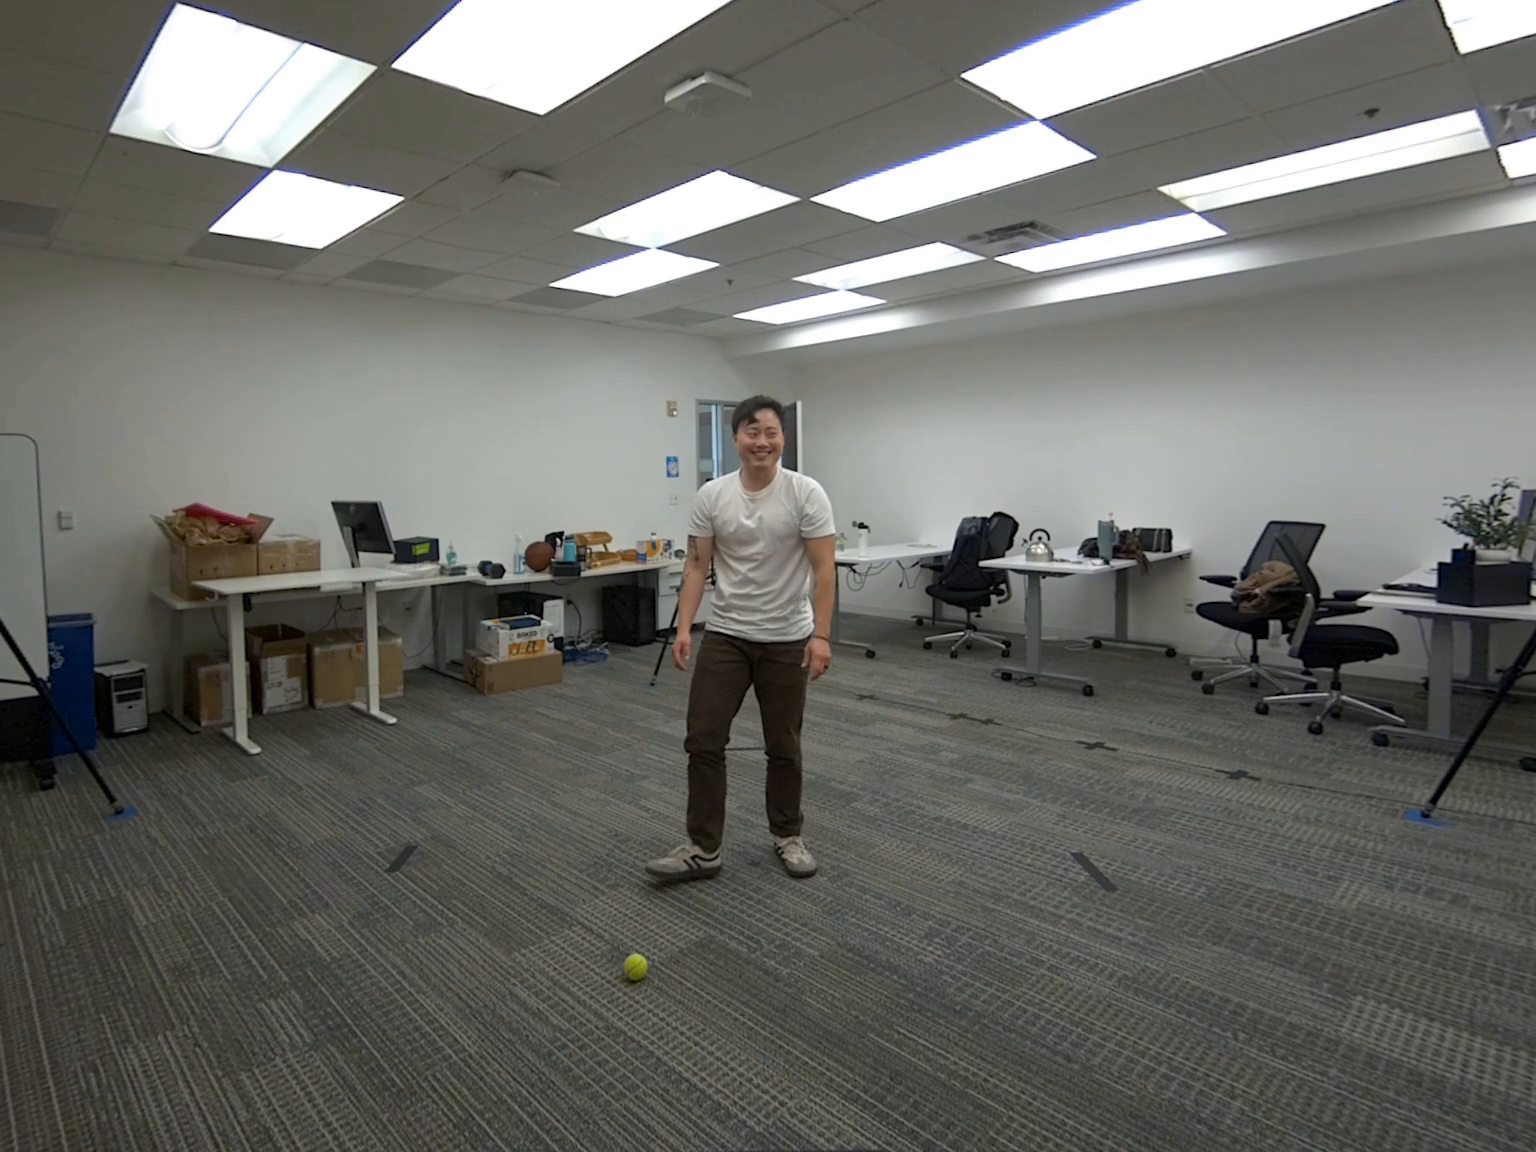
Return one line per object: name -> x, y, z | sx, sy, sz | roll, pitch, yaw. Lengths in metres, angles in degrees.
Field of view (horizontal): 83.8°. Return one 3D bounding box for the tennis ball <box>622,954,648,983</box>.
tennis ball -> -0.368, 1.090, 2.398 | 0.066, 0.066, 0.067 | -1, 5, -2
